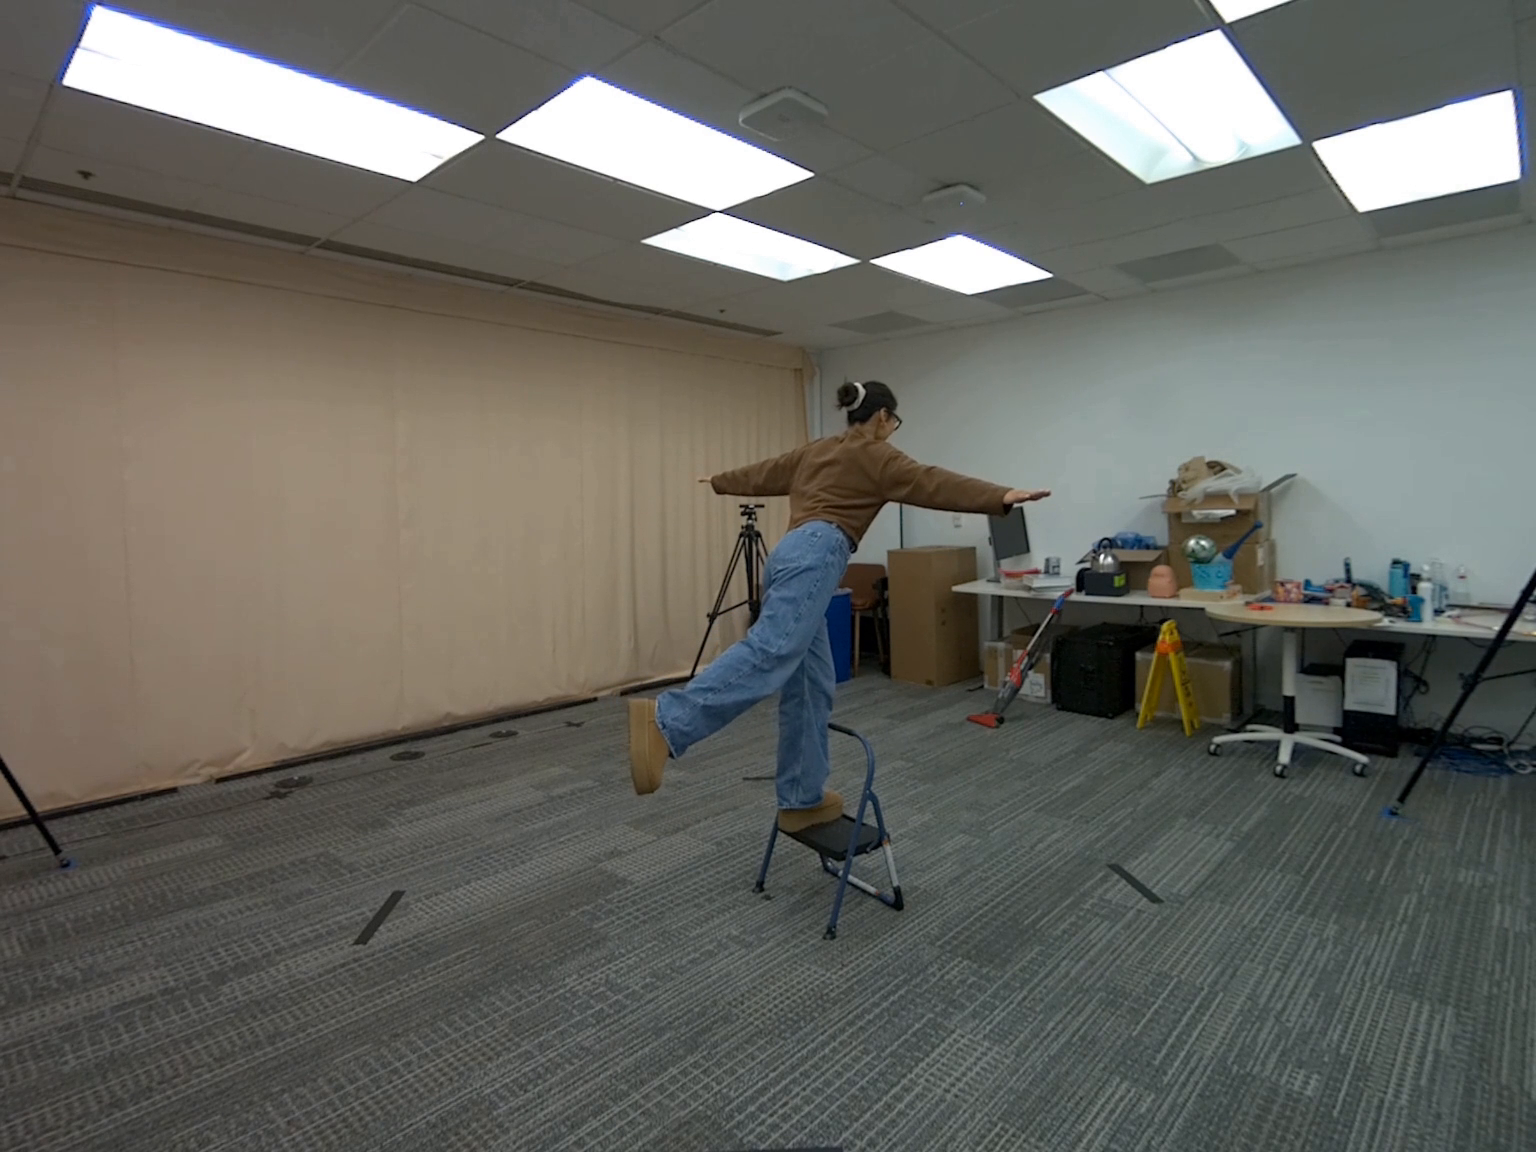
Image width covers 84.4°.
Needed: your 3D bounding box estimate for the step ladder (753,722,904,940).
[{"bbox_3d":[0.210,0.838,2.938,0.339,0.605,0.444,-3,4,-35],"label":"step ladder"}]
